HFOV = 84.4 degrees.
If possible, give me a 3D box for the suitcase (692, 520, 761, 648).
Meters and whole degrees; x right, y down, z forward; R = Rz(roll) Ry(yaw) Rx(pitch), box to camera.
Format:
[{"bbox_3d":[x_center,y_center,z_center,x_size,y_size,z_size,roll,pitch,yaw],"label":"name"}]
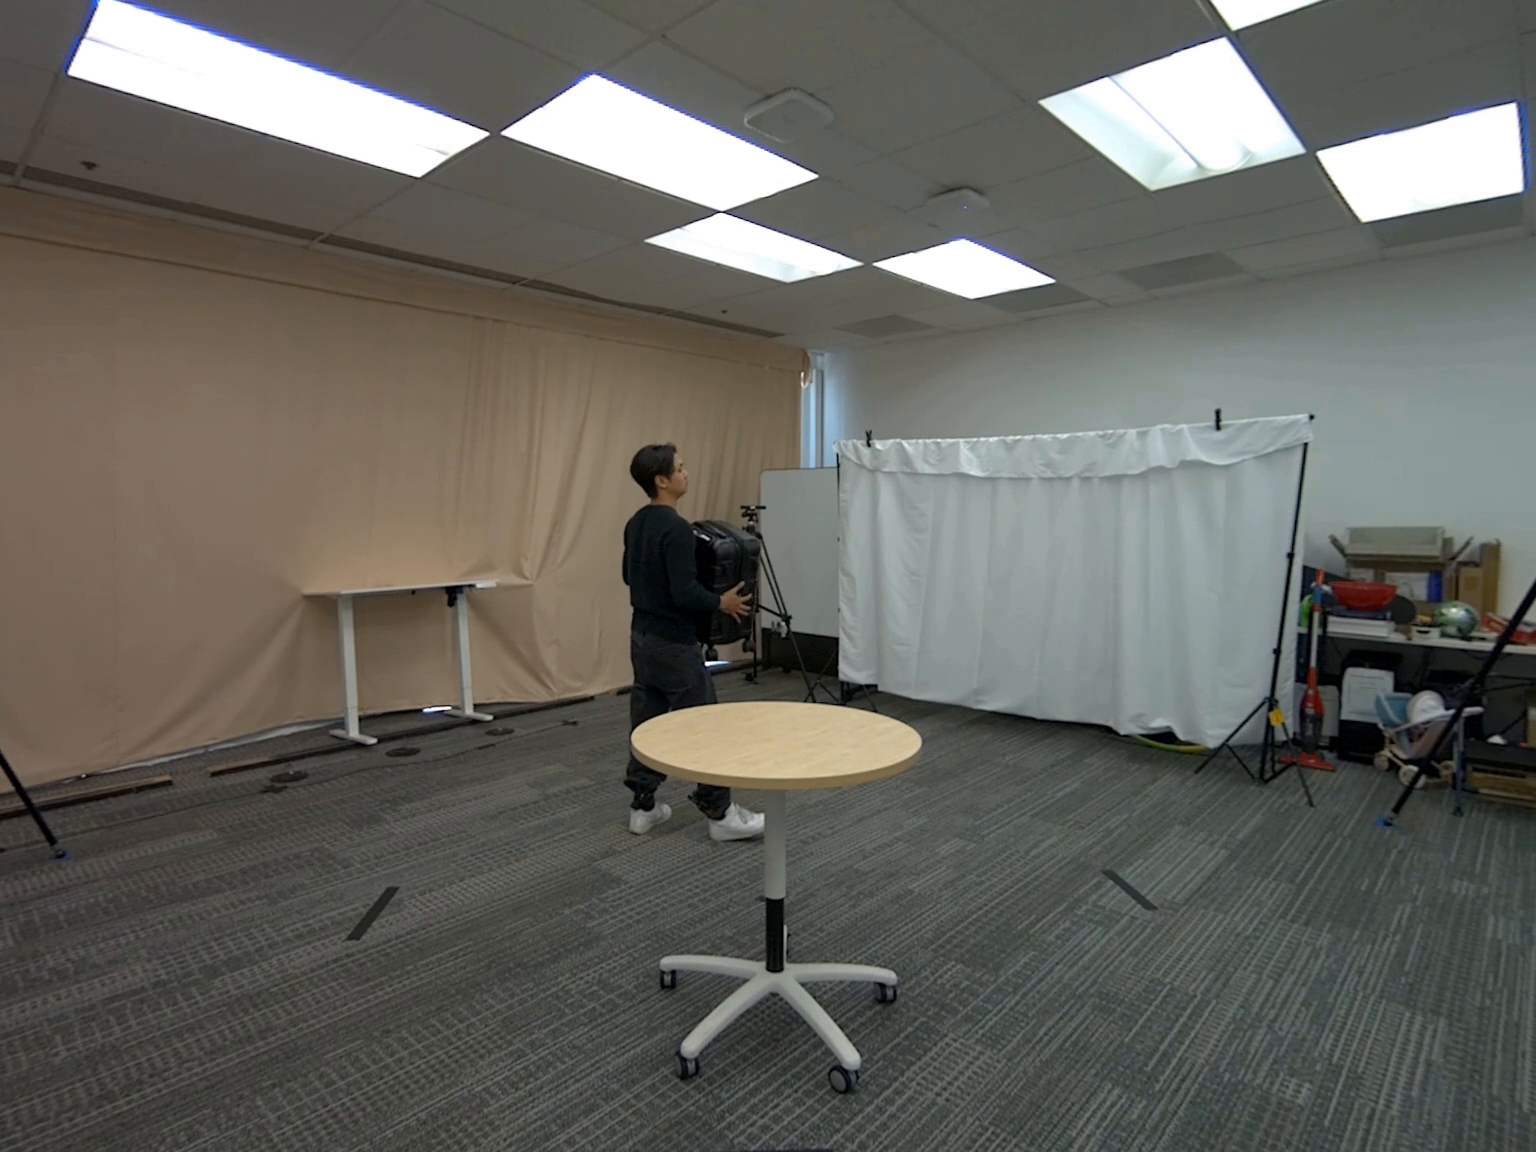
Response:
[{"bbox_3d":[-0.234,0.039,3.752,0.241,0.544,0.389,-8,21,-38],"label":"suitcase"}]
